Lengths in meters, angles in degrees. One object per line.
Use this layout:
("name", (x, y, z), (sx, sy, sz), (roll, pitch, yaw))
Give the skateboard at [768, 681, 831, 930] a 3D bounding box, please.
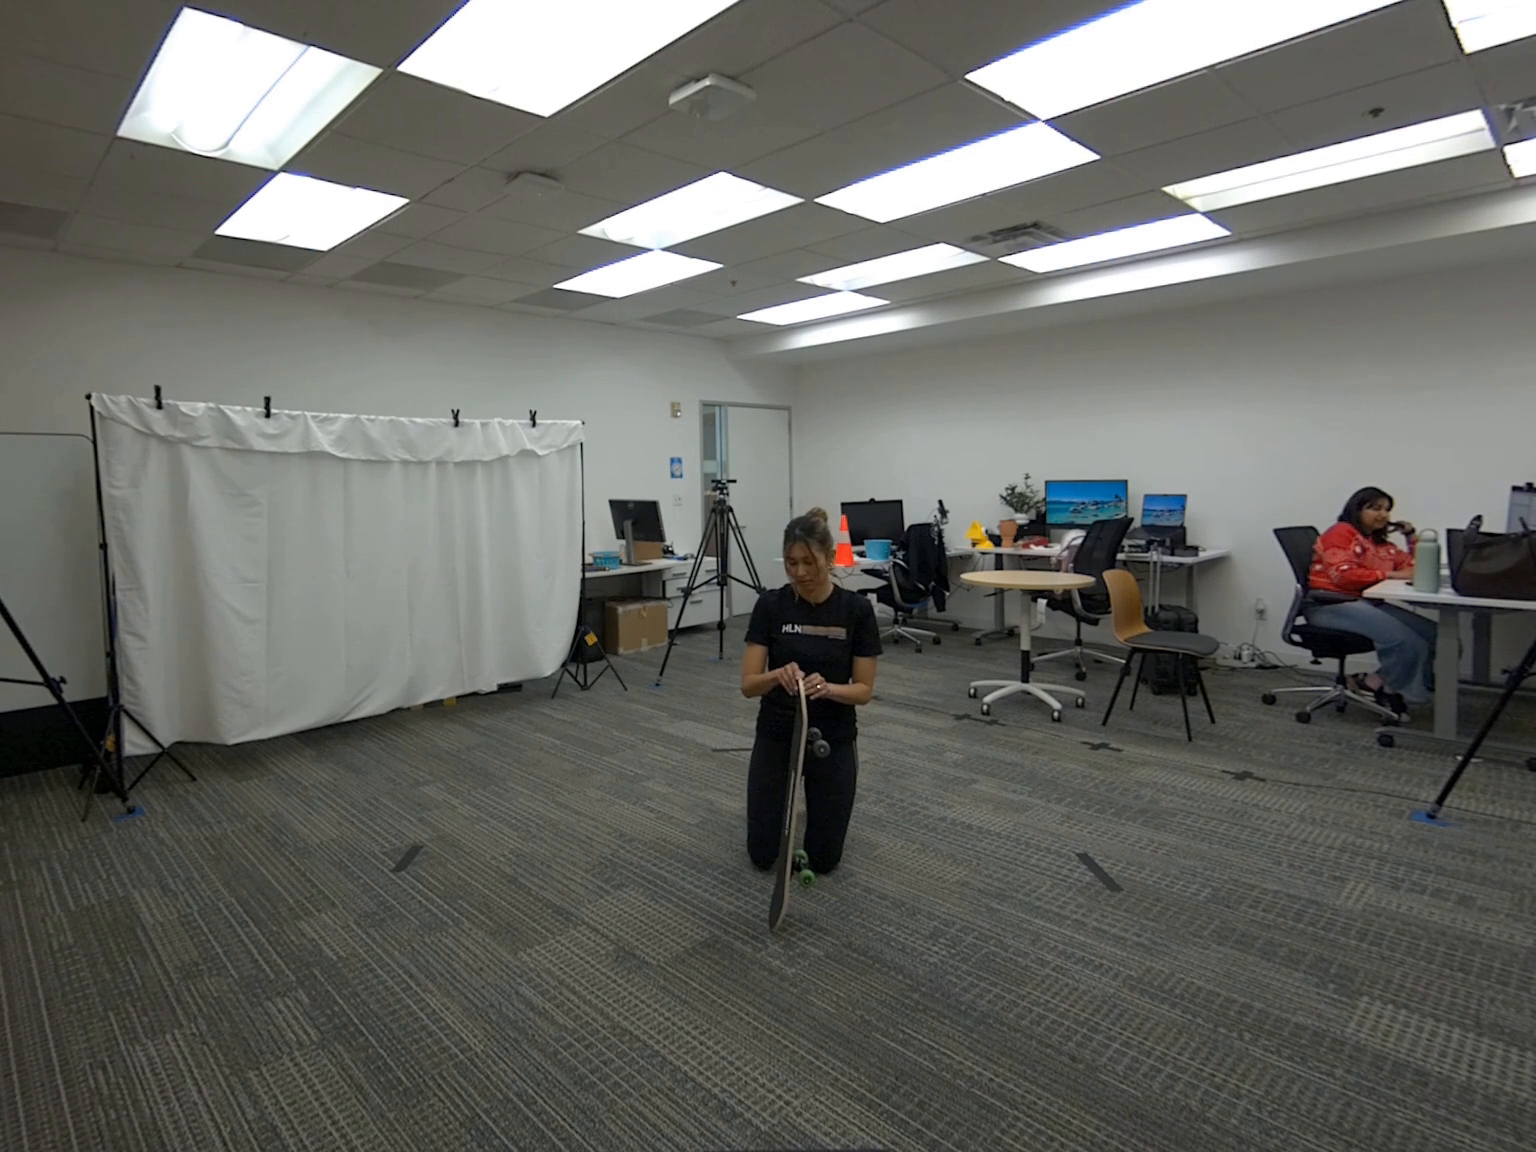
("skateboard", (0.096, 0.716, 2.658), (0.110, 0.785, 0.194), (6, 1, -3))
